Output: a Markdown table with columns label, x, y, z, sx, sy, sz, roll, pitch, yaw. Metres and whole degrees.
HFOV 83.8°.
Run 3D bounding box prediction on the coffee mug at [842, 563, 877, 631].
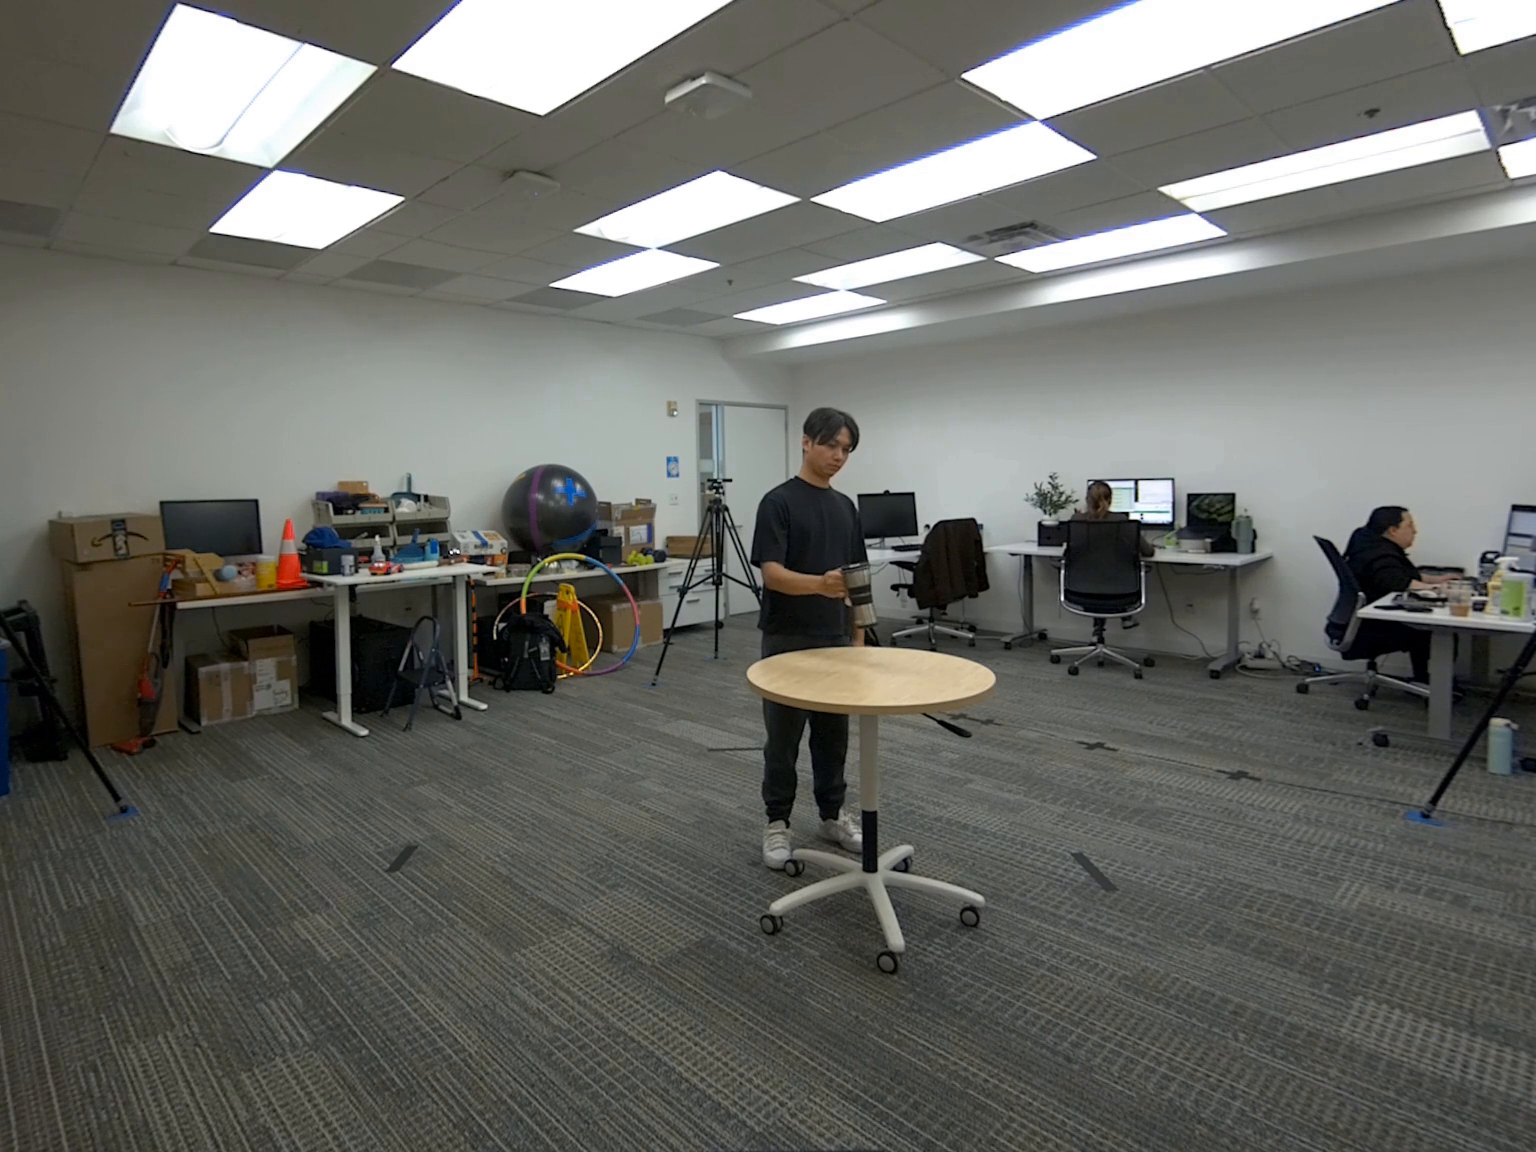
| label | x | y | z | sx | sy | sz | roll | pitch | yaw |
| --- | --- | --- | --- | --- | --- | --- | --- | --- | --- |
| coffee mug | 0.303 | 0.062 | 2.709 | 0.090 | 0.204 | 0.119 | -14 | -3 | 41 |
